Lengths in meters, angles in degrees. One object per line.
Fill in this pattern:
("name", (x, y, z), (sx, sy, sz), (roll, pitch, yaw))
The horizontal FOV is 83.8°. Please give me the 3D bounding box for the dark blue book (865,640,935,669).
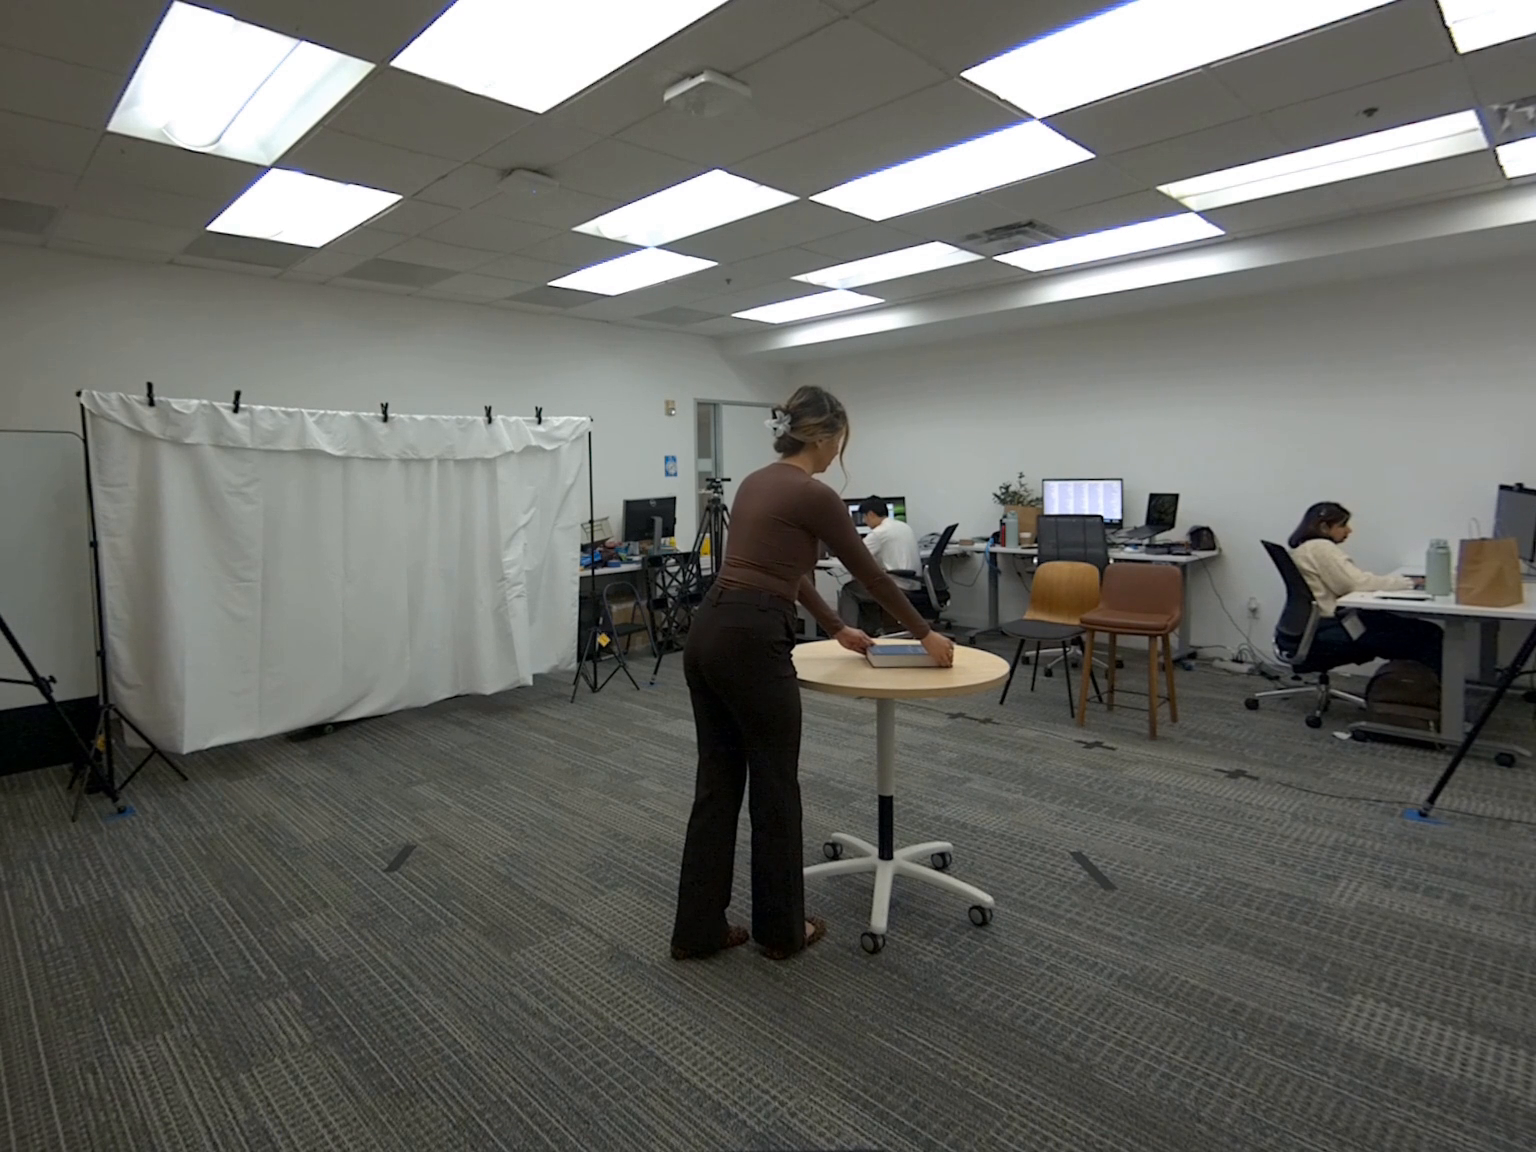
("dark blue book", (0.460, 0.261, 2.741), (0.245, 0.045, 0.164), (-1, 6, 1))
